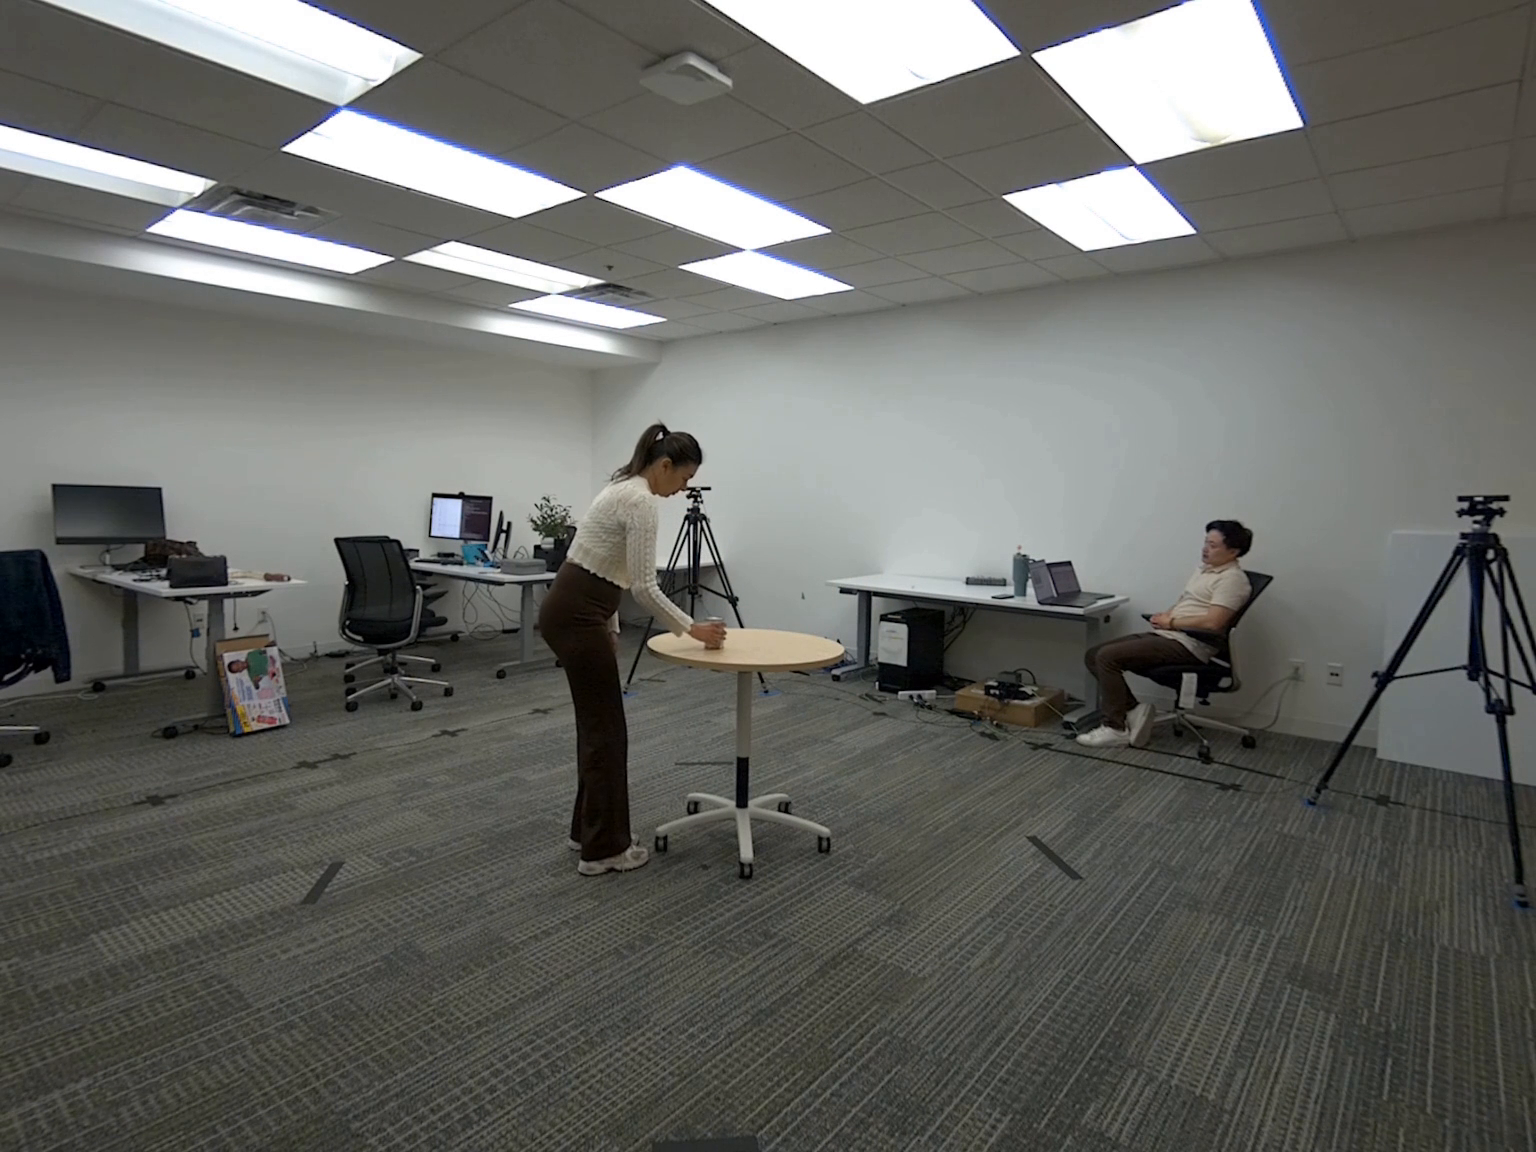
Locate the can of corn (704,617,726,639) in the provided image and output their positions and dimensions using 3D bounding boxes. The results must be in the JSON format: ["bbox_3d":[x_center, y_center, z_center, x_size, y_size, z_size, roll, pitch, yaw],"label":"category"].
[{"bbox_3d":[-0.198,0.218,3.210,0.074,0.111,0.074,-3,4,-2],"label":"can of corn"}]
